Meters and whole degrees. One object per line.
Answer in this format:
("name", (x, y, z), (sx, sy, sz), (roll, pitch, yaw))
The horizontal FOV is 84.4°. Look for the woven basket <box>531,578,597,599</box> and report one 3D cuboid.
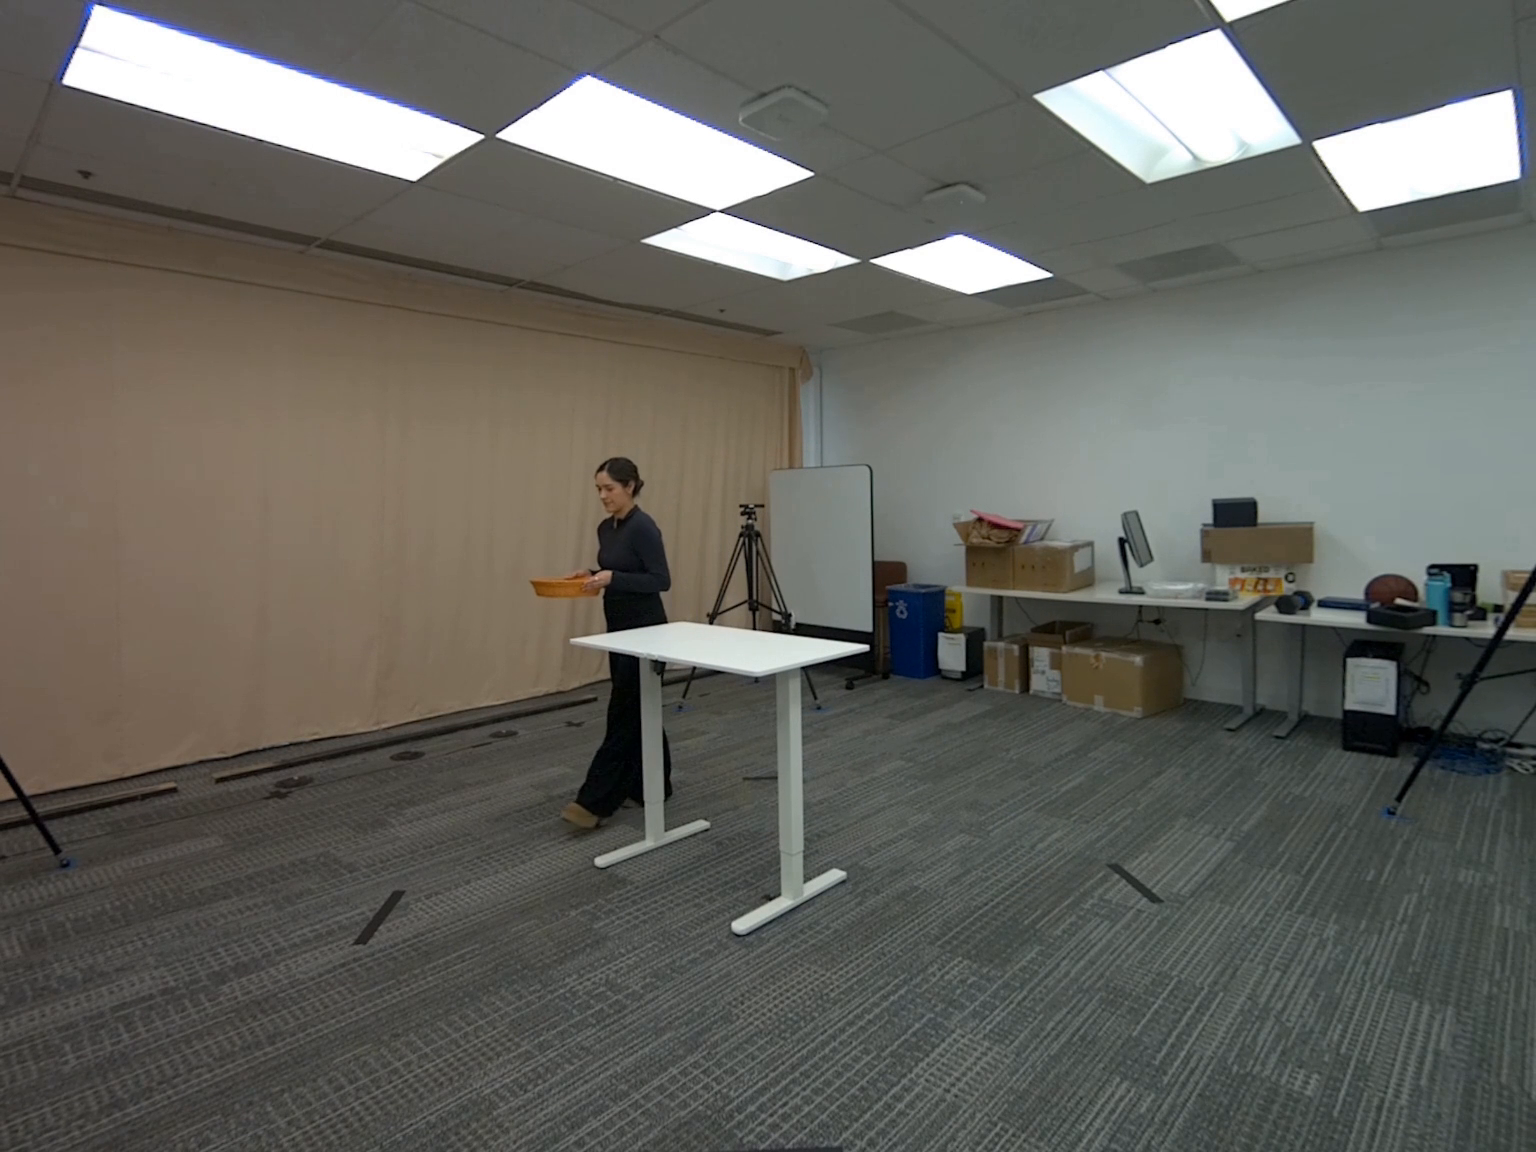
("woven basket", (-0.884, 0.048, 3.669), (0.260, 0.073, 0.340), (1, 3, 33))
